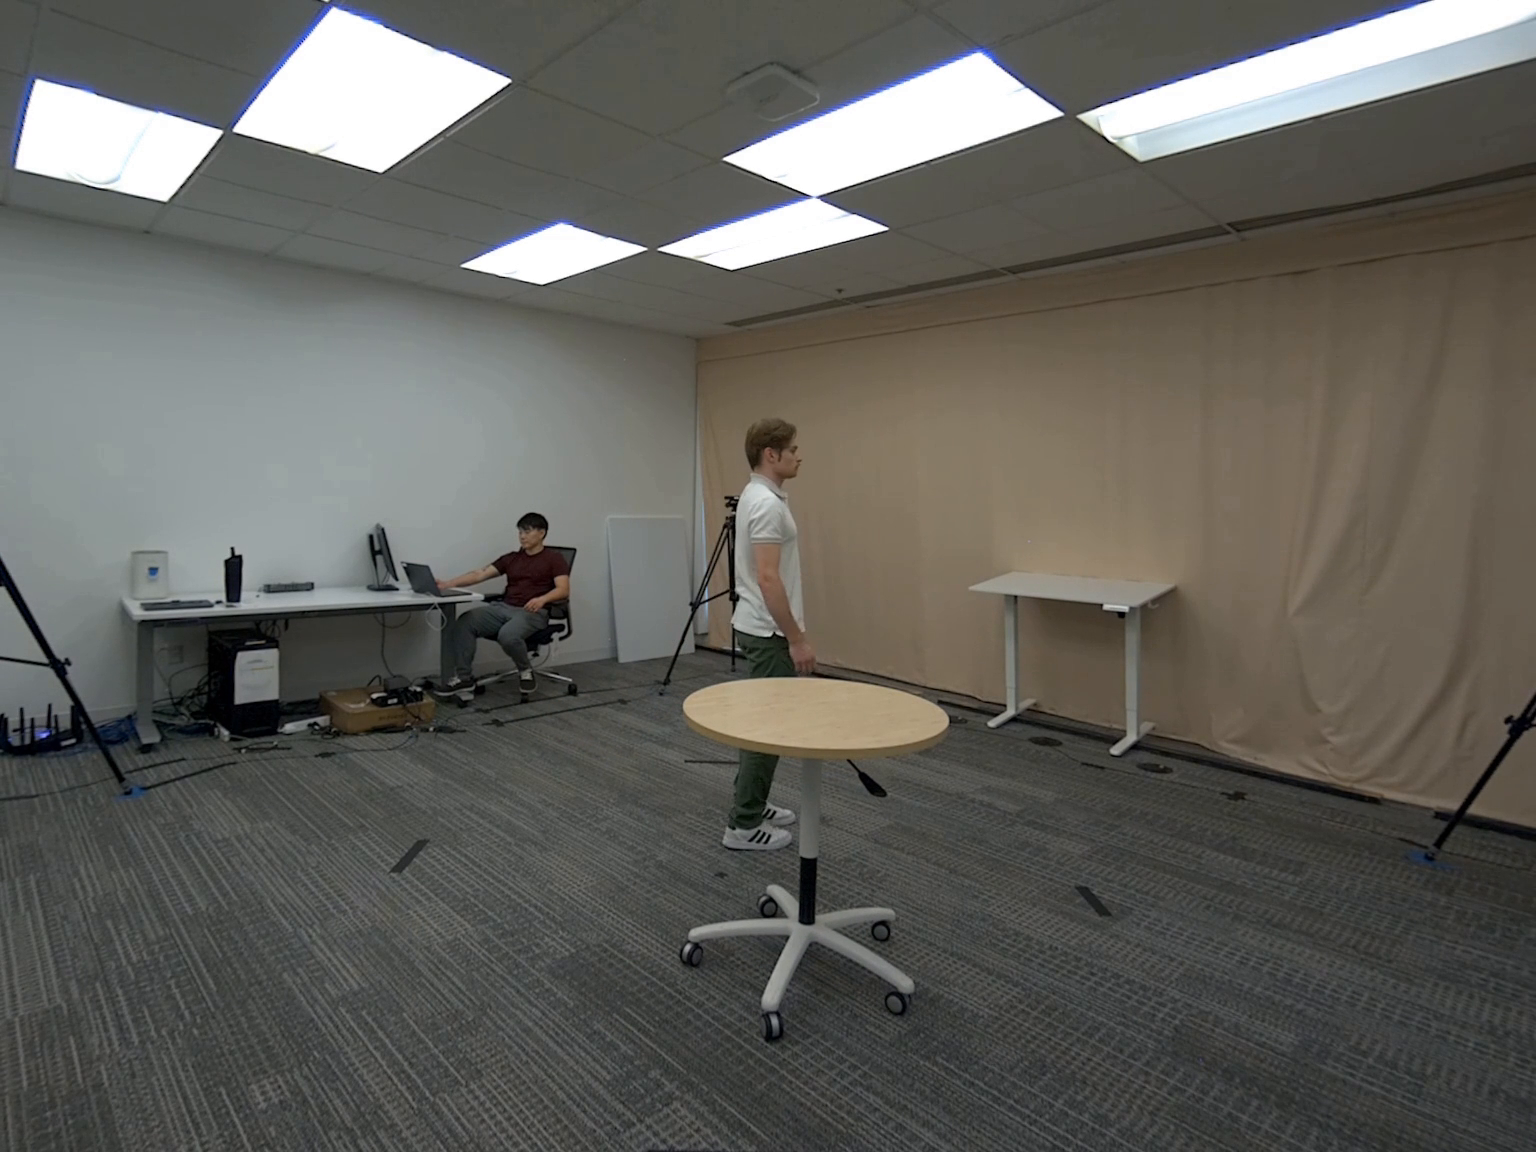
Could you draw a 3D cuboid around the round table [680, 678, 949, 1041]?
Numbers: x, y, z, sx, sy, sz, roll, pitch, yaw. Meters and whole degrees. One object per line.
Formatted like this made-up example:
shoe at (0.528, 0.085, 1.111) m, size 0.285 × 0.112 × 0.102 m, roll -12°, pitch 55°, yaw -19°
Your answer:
round table at (0.120, 0.781, 2.478) m, size 0.763 × 0.791 × 0.767 m, roll 2°, pitch 5°, yaw -2°
